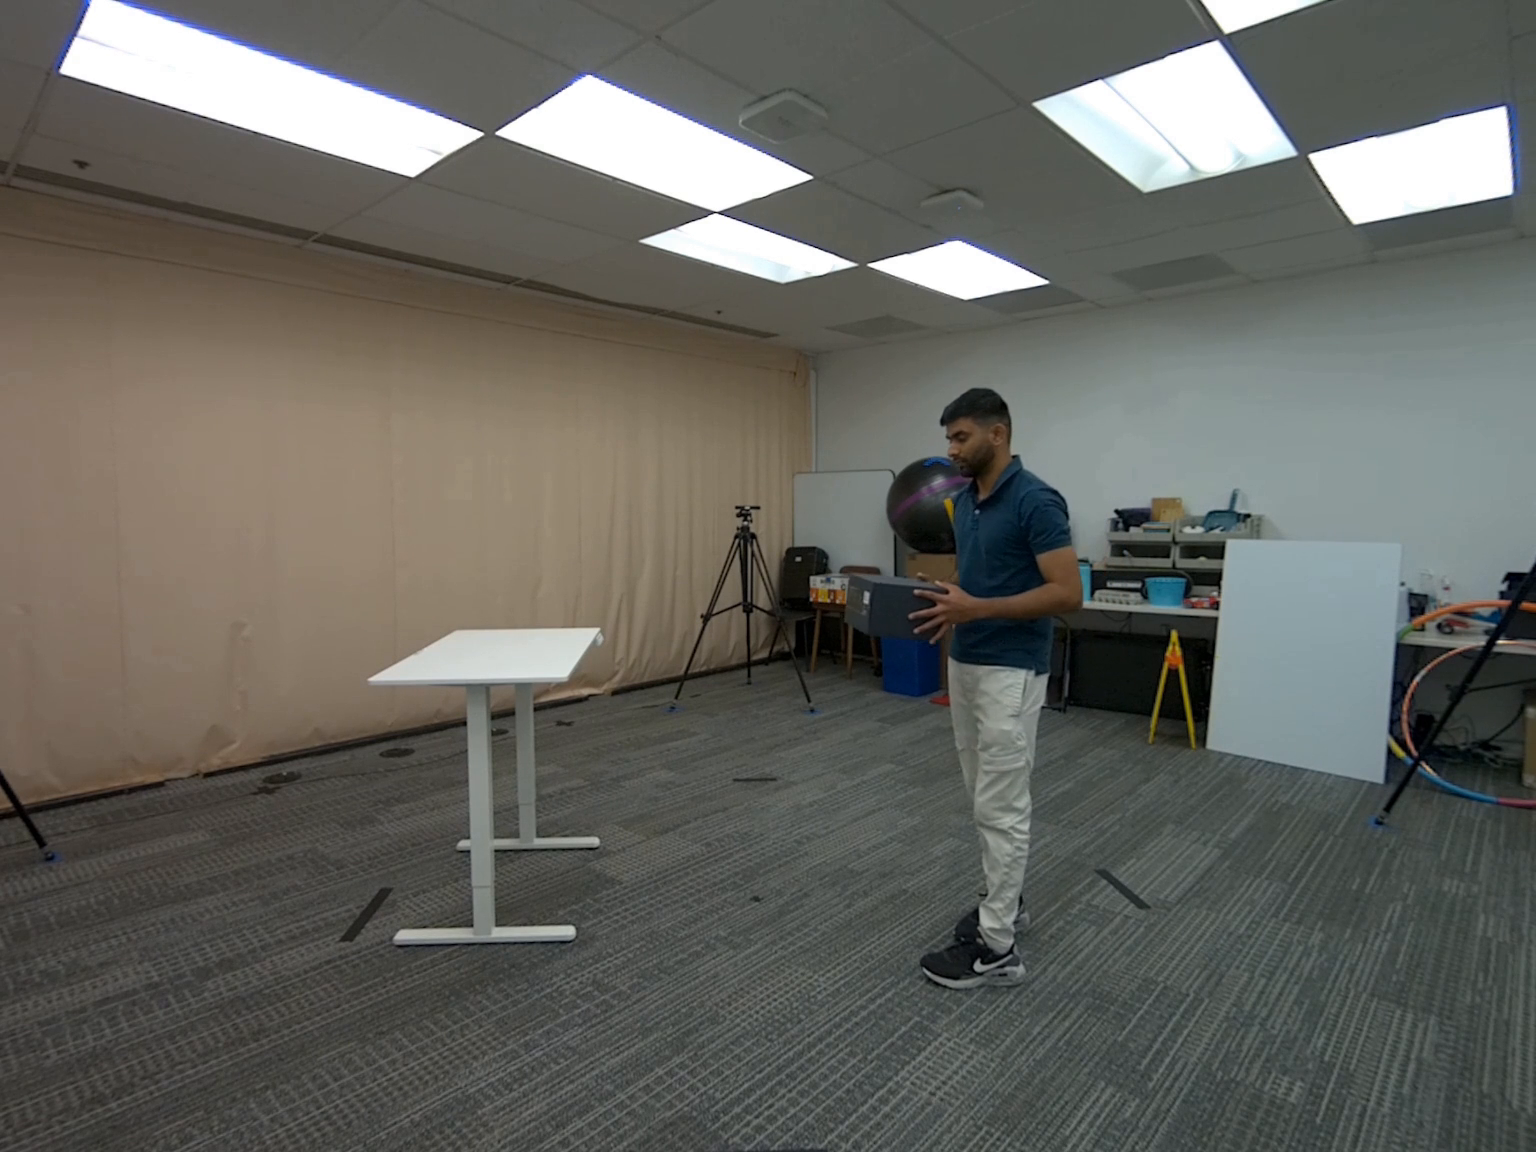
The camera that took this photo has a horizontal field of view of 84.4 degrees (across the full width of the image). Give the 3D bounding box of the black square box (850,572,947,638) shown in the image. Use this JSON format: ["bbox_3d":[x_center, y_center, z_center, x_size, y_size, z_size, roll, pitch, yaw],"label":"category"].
[{"bbox_3d":[0.383,0.081,2.516,0.227,0.155,0.219,3,5,-5],"label":"black square box"}]
